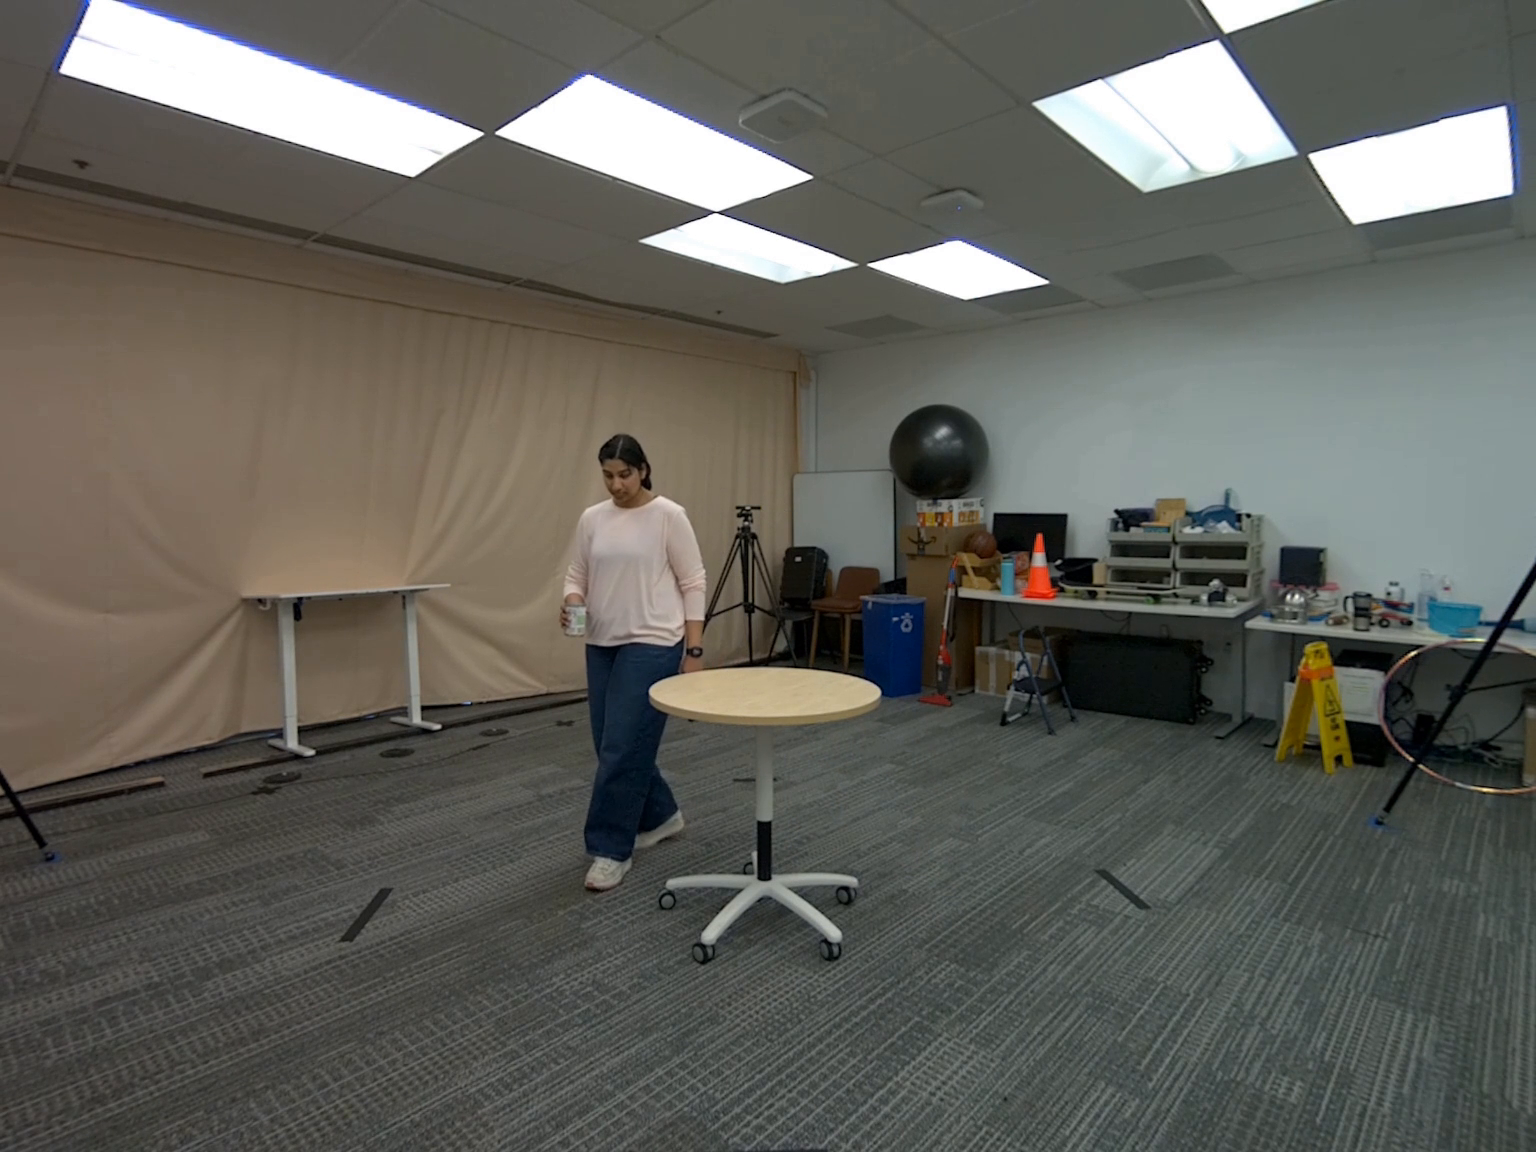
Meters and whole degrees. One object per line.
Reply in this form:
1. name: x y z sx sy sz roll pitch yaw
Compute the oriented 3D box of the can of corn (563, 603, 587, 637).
1. can of corn: -0.705 0.165 3.050 0.074 0.111 0.074 0 -4 -2
